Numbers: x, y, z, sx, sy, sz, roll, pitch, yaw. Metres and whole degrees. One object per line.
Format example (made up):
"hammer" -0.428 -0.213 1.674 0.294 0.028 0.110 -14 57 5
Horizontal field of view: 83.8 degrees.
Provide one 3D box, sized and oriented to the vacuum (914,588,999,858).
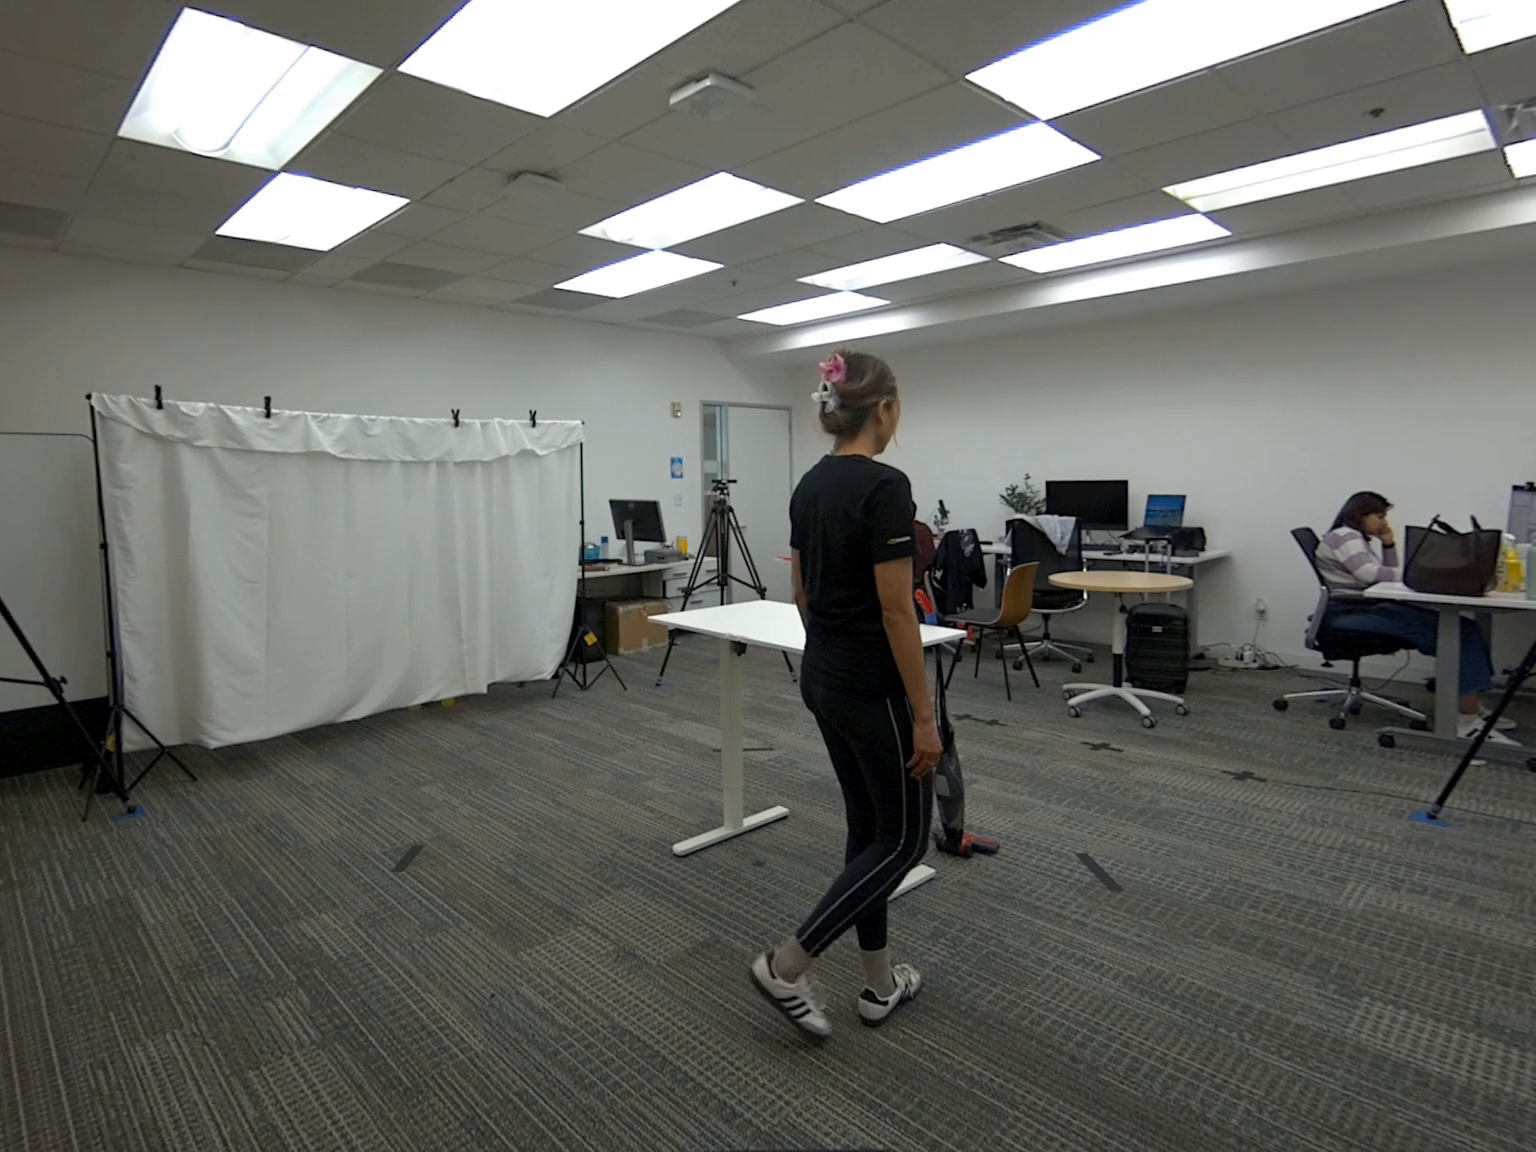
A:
"vacuum" 0.627 0.546 3.055 0.260 1.030 0.142 3 24 41
